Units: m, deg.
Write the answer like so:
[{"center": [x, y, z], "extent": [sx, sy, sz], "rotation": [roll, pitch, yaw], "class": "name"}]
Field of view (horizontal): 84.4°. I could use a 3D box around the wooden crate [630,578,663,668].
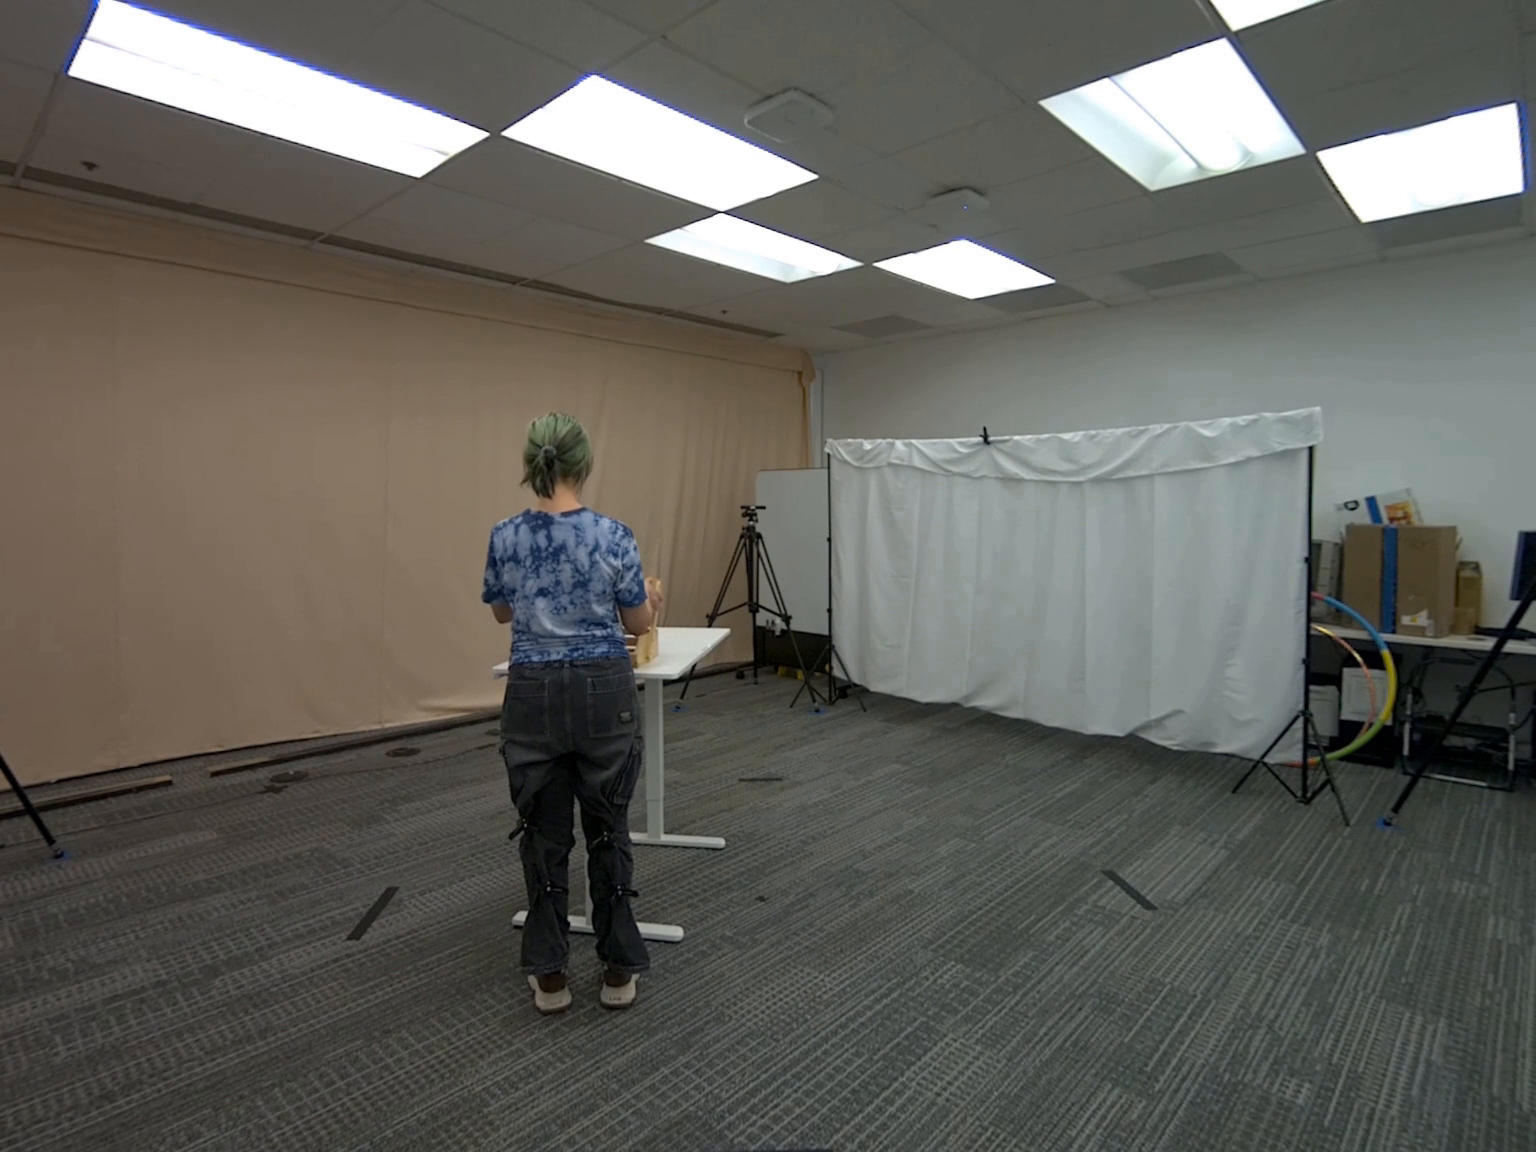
[{"center": [-0.539, 0.145, 2.792], "extent": [0.328, 0.273, 0.299], "rotation": [0, 2, 10], "class": "wooden crate"}]
